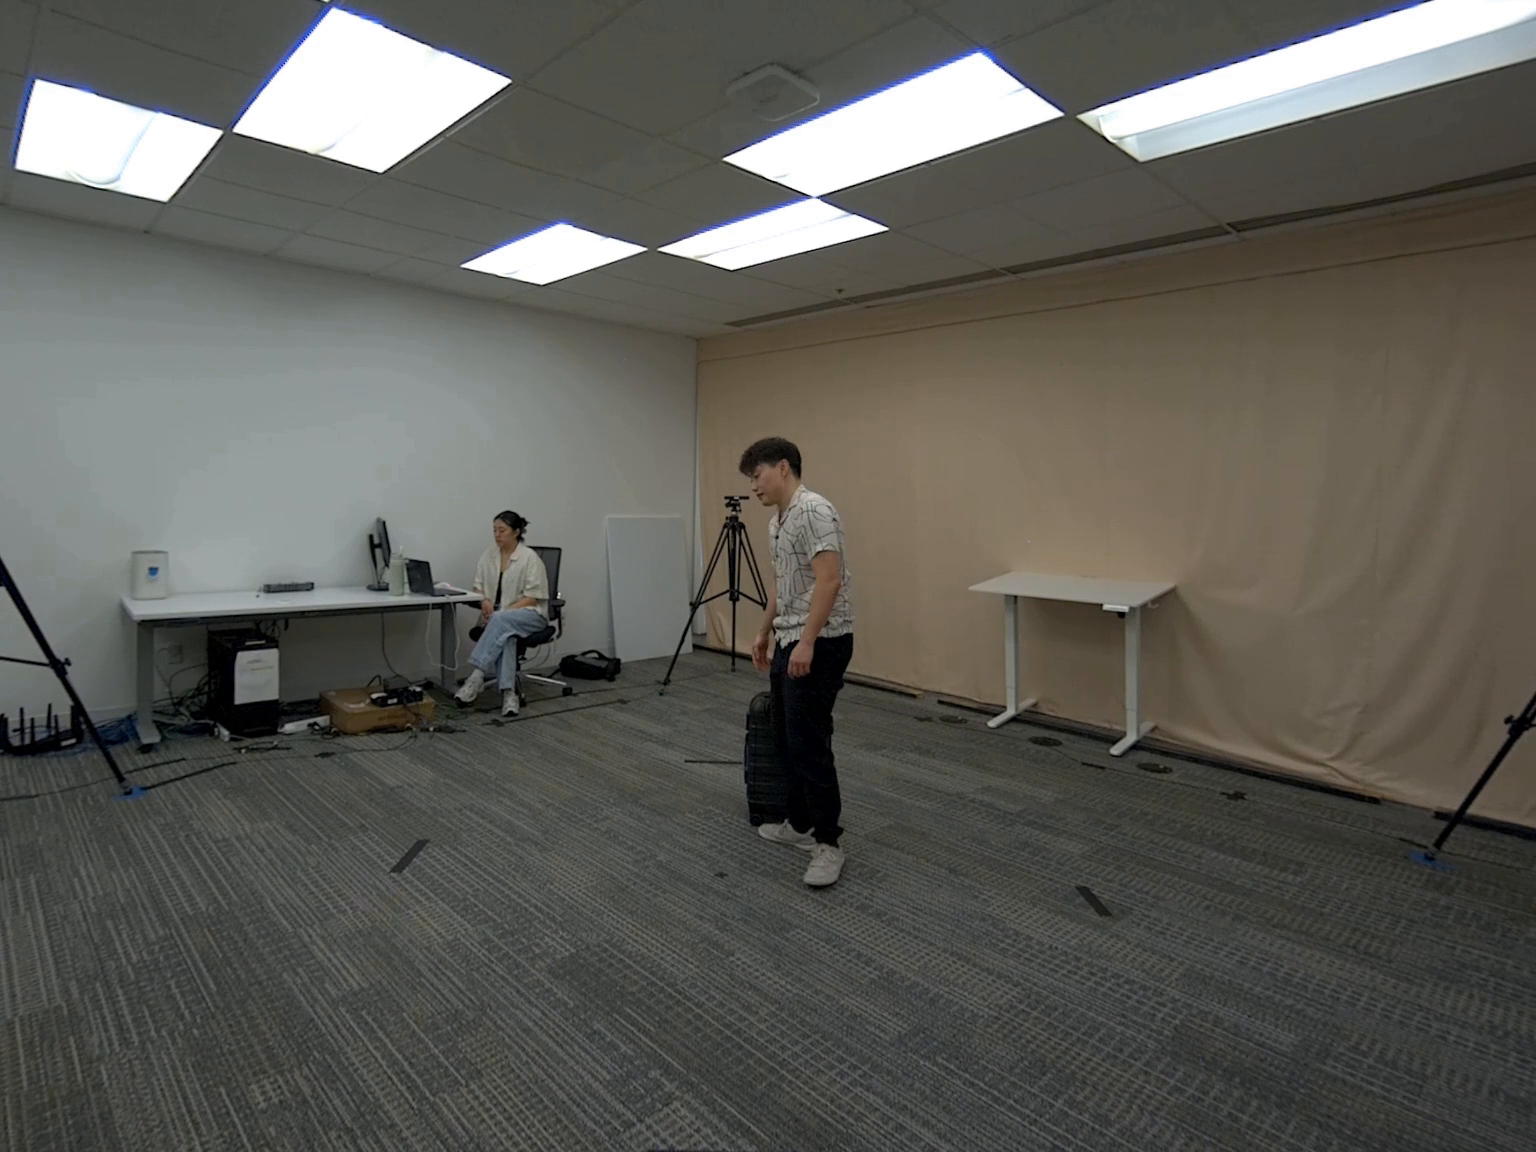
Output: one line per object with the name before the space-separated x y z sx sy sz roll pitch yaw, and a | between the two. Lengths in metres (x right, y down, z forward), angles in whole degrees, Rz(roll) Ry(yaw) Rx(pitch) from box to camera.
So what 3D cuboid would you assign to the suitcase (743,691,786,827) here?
suitcase | 0.082 0.786 3.675 0.377 0.548 0.247 1 3 6
